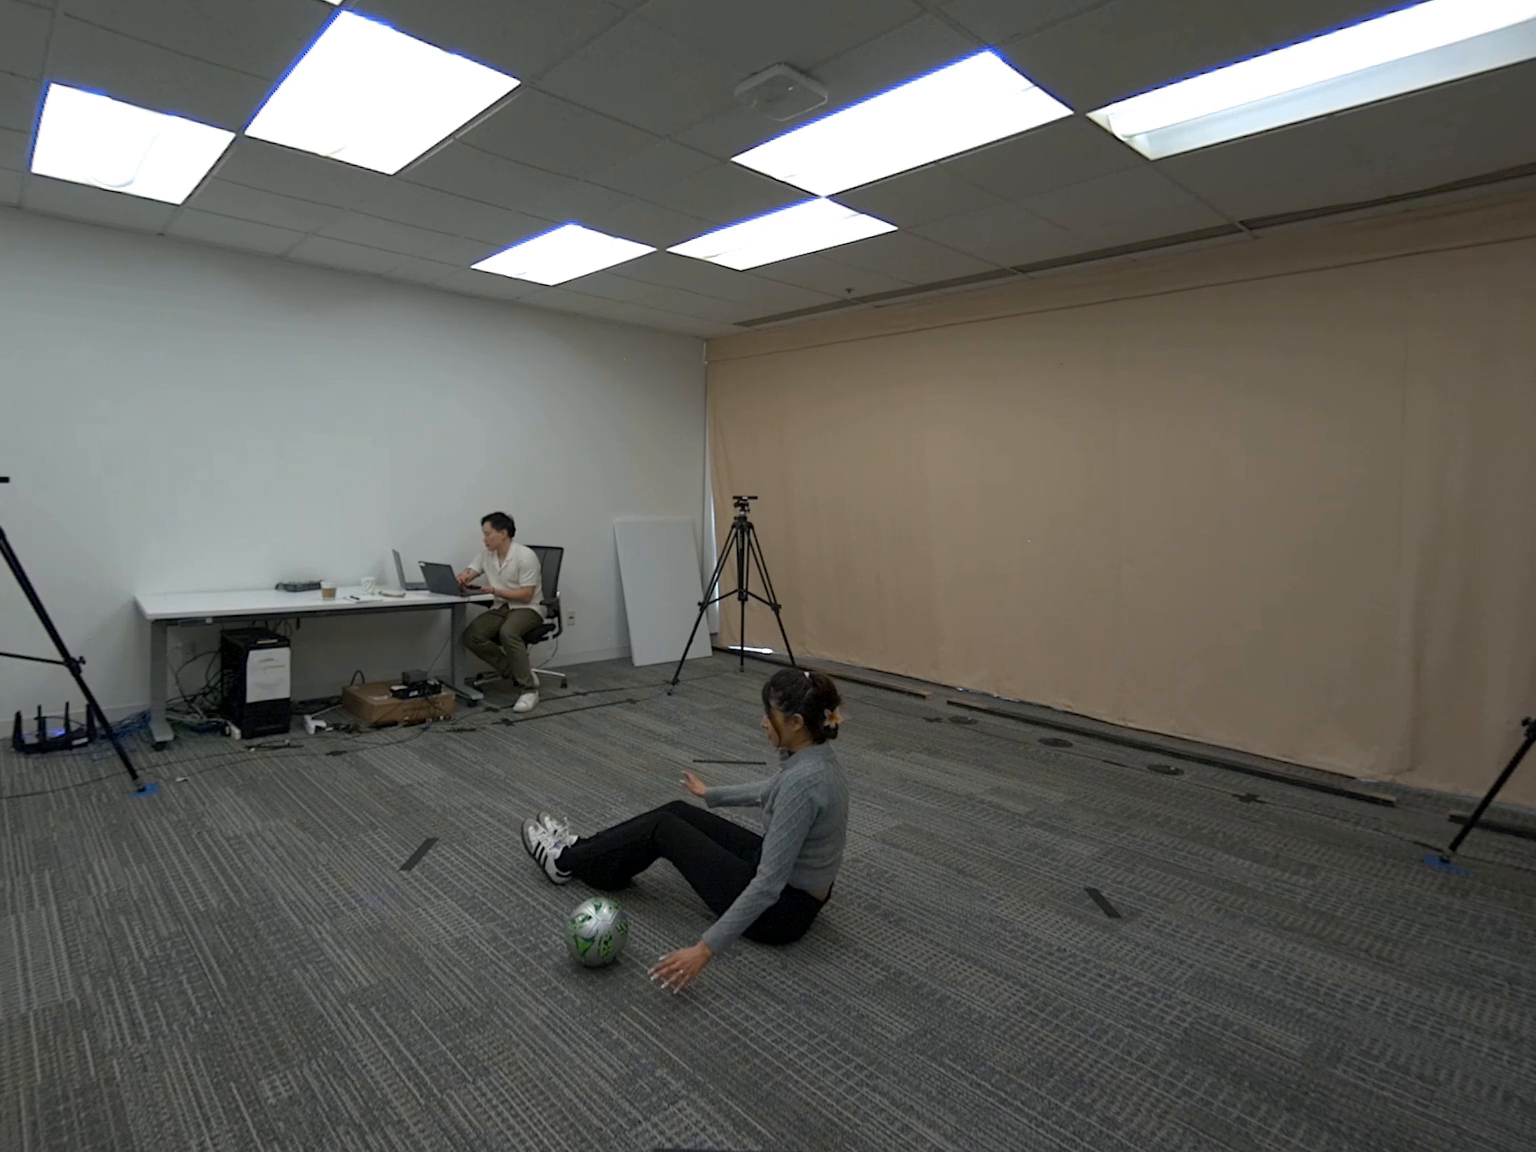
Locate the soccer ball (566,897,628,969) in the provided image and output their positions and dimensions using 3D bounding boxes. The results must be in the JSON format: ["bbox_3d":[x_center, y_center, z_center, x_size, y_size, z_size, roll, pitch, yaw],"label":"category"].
[{"bbox_3d":[-0.515,1.052,2.503,0.187,0.187,0.188,1,4,-1],"label":"soccer ball"}]
